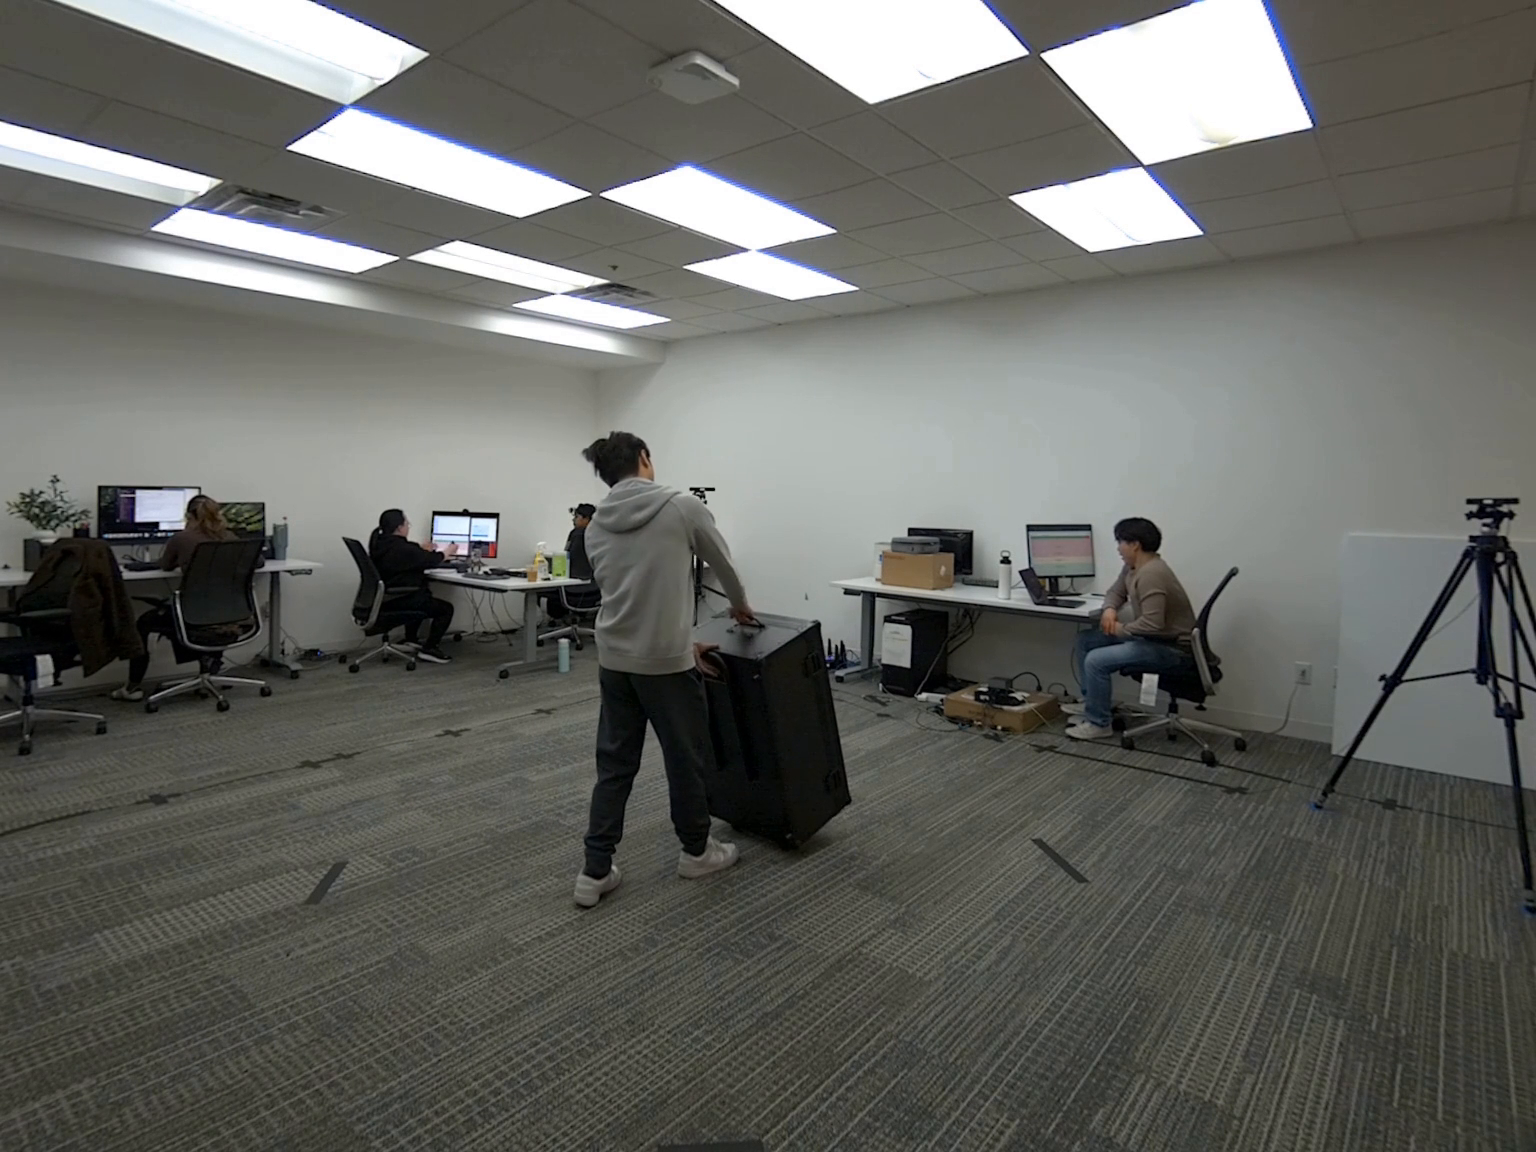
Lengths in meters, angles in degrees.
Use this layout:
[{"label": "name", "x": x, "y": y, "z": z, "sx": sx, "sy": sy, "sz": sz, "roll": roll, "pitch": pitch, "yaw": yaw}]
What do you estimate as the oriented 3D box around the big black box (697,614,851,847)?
[{"label": "big black box", "x": -0.032, "y": 0.613, "z": 3.347, "sx": 0.539, "sy": 0.846, "sz": 0.390, "roll": 5, "pitch": 23, "yaw": 44}]
